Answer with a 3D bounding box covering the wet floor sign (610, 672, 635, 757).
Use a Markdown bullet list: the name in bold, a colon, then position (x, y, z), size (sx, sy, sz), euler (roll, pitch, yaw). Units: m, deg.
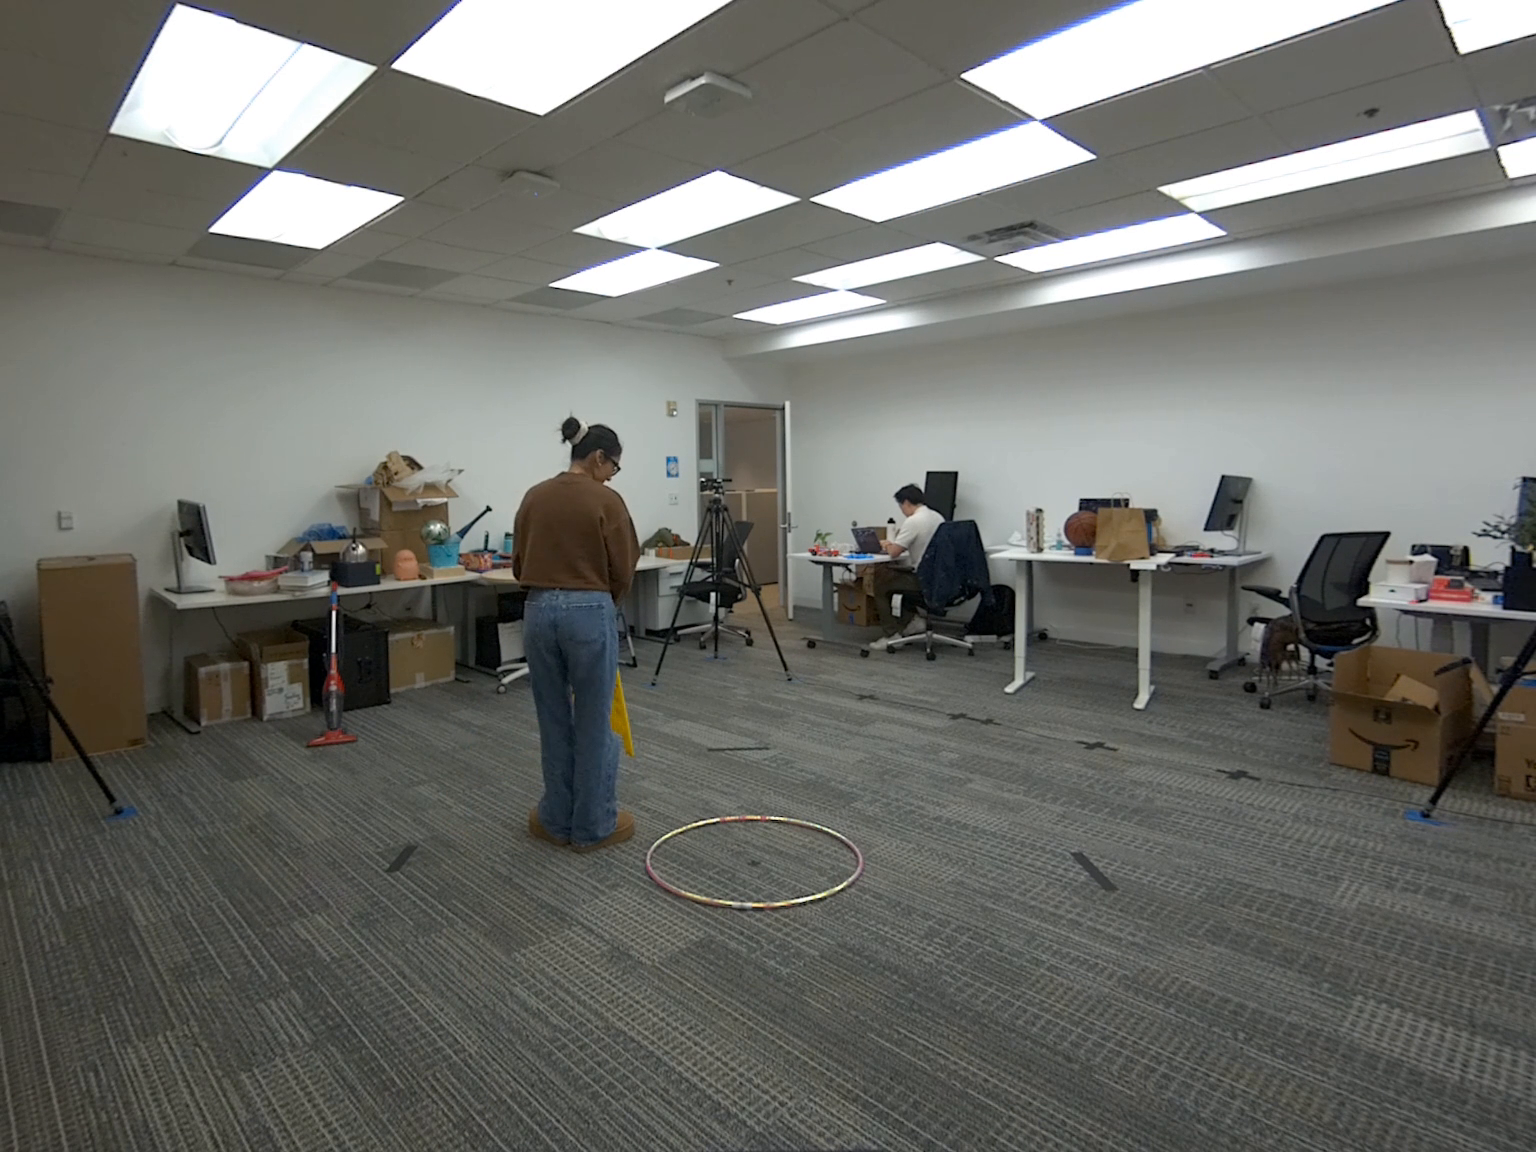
- **wet floor sign**: position (-0.722, 0.412, 3.541), size (0.283, 0.643, 0.290), euler (0, 5, -28)
